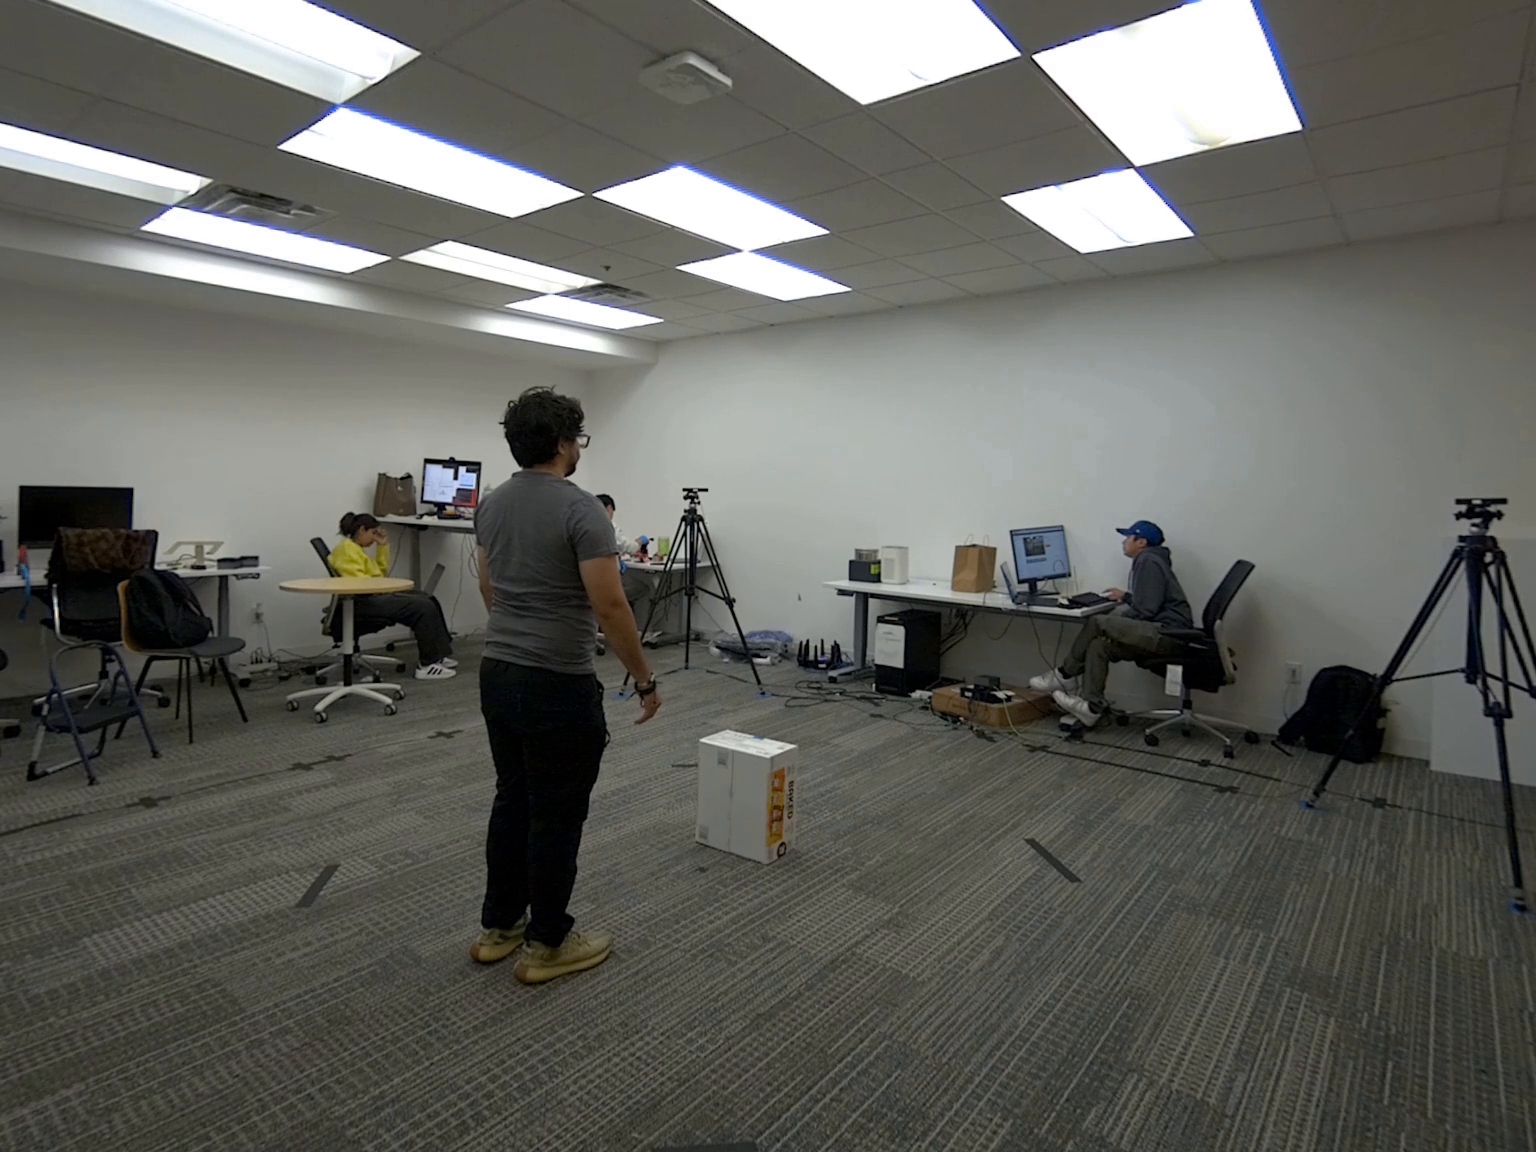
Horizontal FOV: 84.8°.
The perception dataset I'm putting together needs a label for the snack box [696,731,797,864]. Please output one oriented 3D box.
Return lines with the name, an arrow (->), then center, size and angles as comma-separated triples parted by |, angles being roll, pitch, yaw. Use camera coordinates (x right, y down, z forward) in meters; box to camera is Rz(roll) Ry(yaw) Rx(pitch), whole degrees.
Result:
snack box -> -0.095, 0.847, 3.318 | 0.351, 0.404, 0.200 | 4, 4, 34
